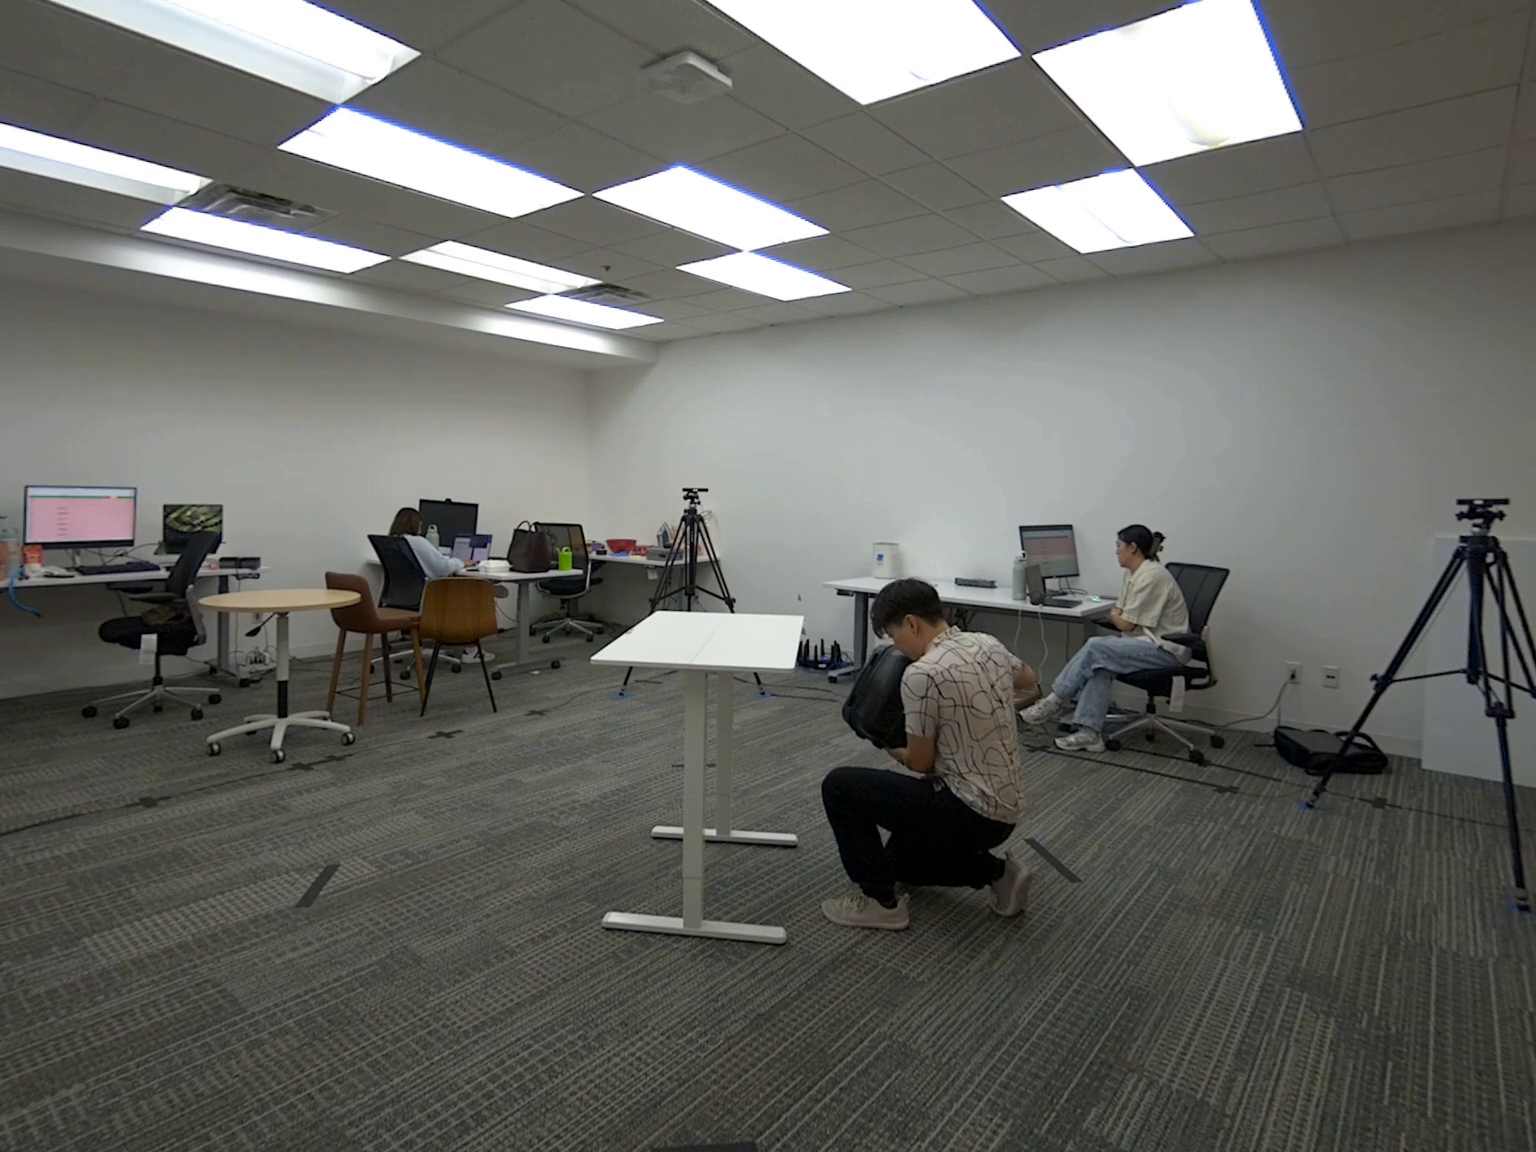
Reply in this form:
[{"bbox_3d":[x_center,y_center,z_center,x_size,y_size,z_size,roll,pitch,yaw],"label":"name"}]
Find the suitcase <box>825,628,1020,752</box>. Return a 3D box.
[{"bbox_3d":[0.571,0.507,3.135,0.539,0.376,0.252,32,-7,-13],"label":"suitcase"}]
